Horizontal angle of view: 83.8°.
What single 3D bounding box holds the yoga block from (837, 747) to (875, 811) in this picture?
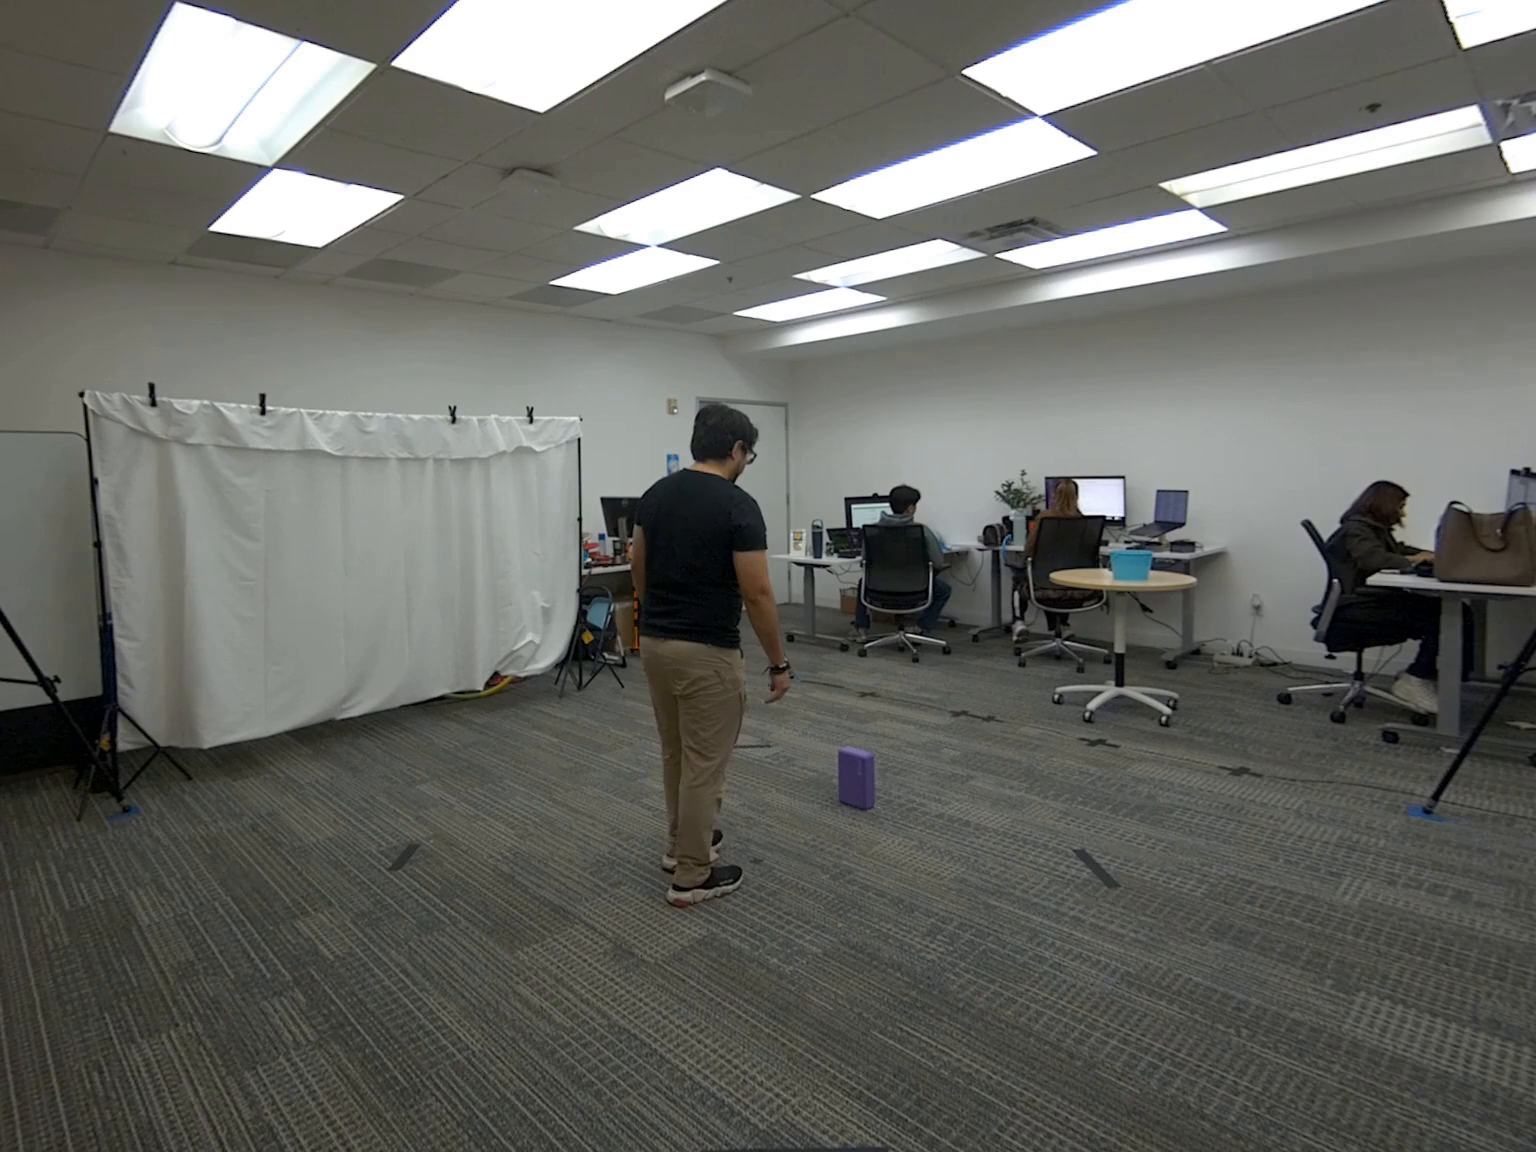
[{"bbox_3d":[0.377,0.853,3.620,0.074,0.228,0.153,-5,6,-43],"label":"yoga block"}]
